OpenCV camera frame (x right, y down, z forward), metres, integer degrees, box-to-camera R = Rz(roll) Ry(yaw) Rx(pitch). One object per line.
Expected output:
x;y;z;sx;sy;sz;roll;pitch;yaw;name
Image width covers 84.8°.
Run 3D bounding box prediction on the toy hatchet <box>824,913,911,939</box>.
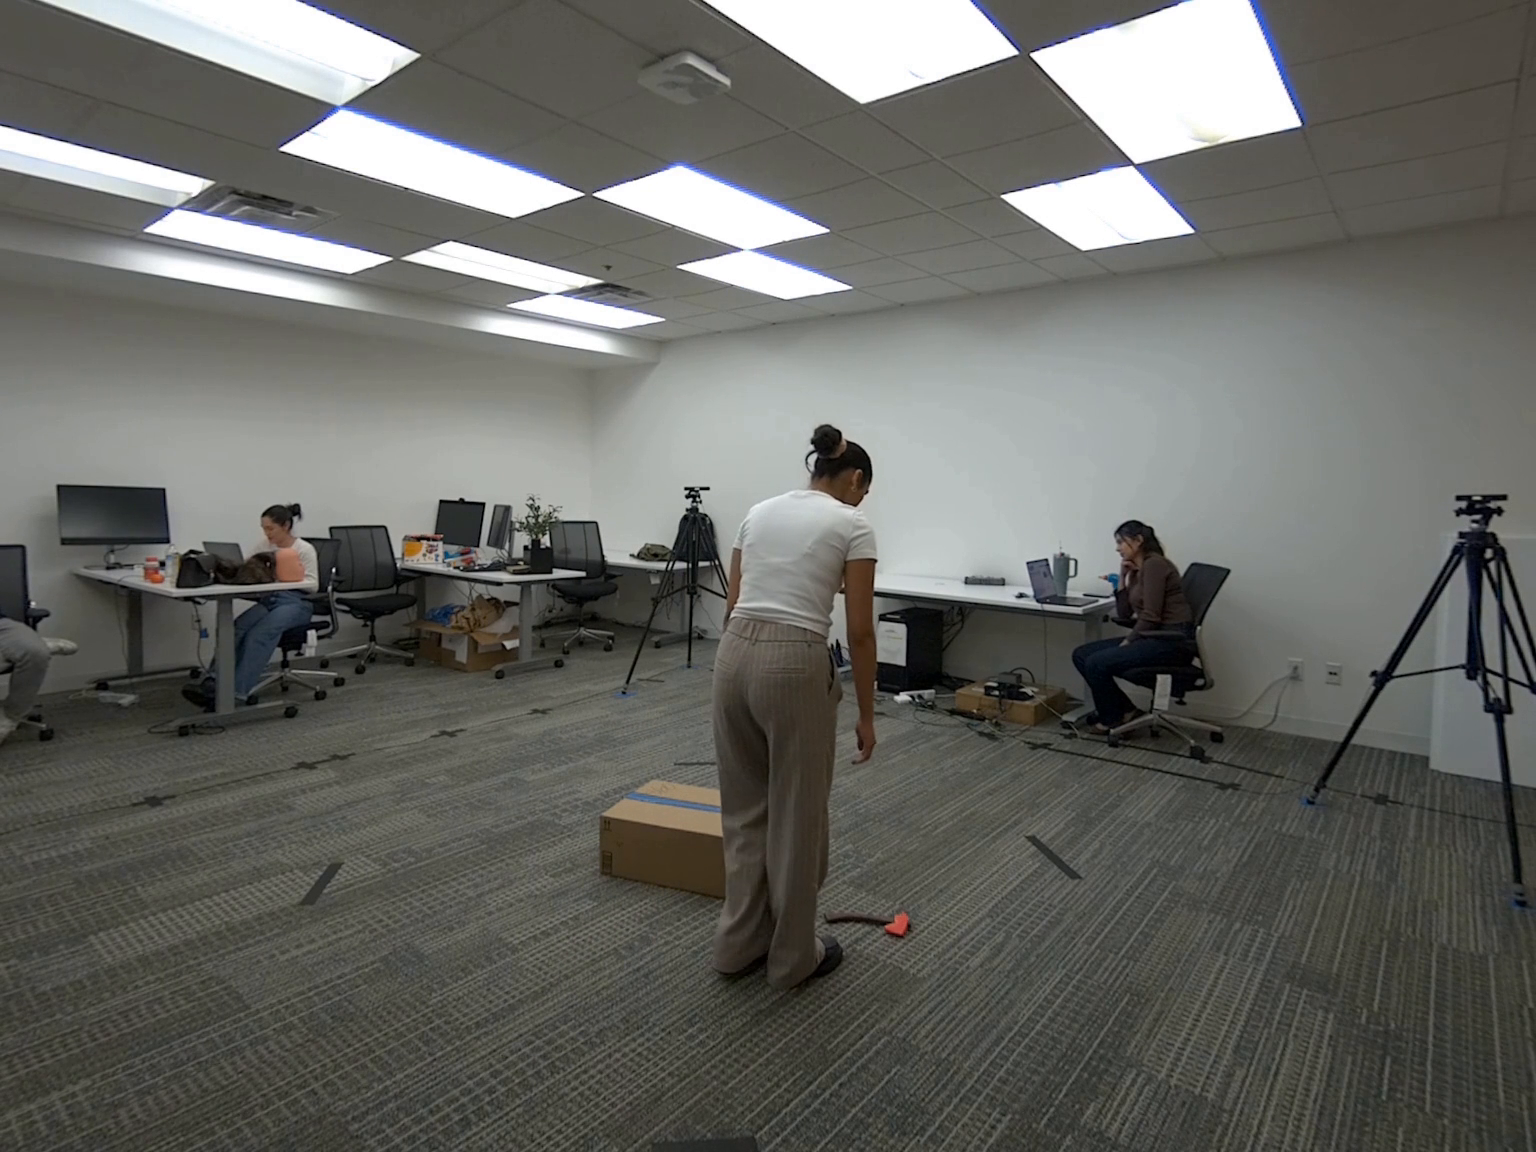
0.320;1.105;2.702;0.269;0.029;0.132;-2;9;-4;toy hatchet
